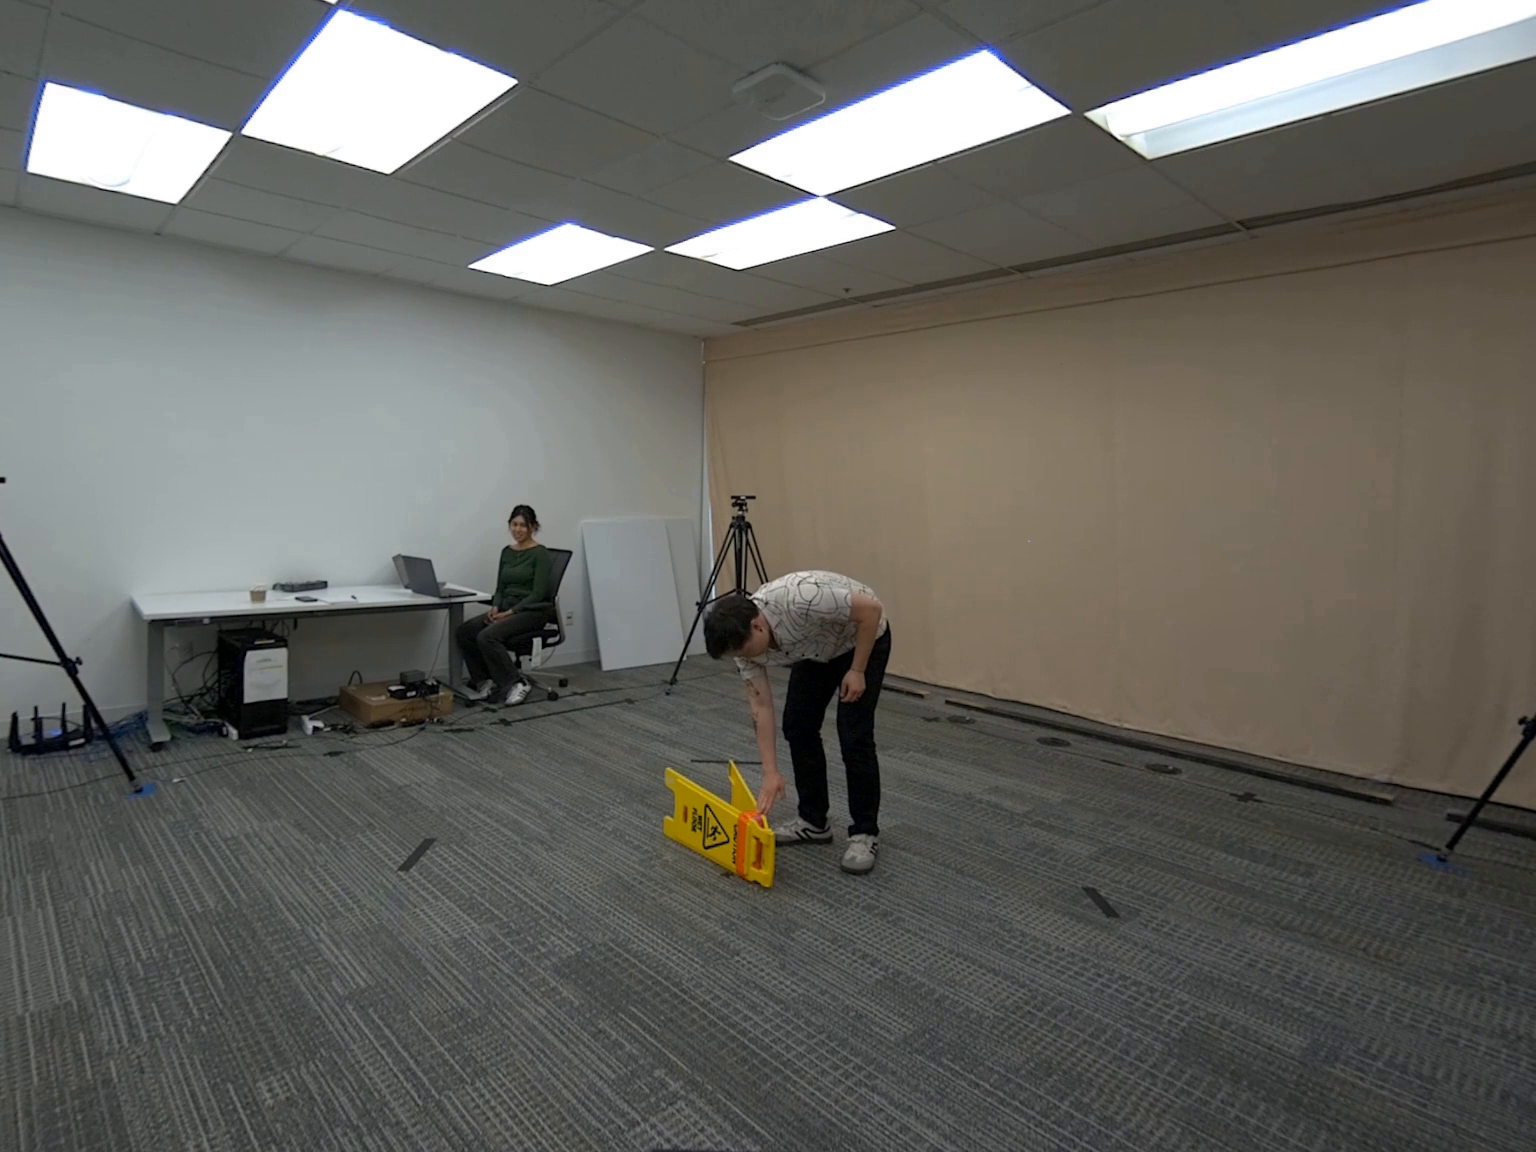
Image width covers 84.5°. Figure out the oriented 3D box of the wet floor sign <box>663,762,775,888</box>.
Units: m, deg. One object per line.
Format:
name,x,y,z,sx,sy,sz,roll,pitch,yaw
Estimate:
wet floor sign,-0.144,0.958,3.236,0.284,0.281,0.661,0,7,-28
